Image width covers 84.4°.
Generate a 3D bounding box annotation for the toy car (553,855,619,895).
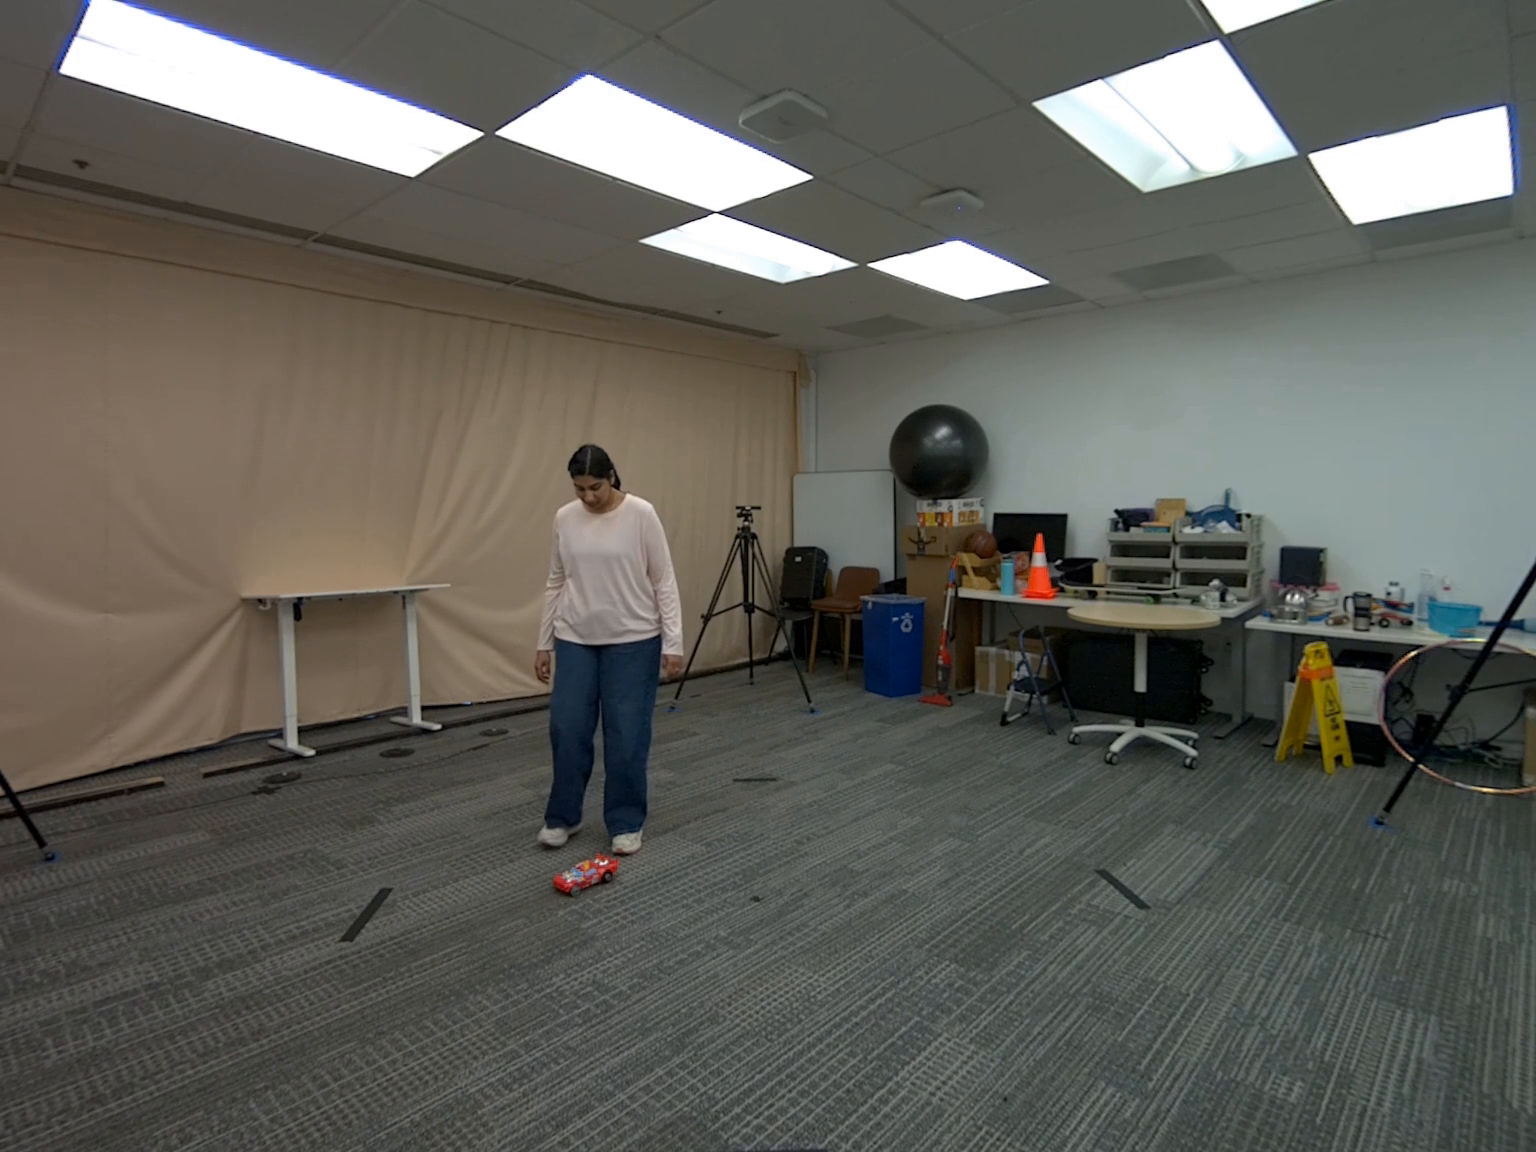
[{"bbox_3d":[-0.672,1.102,3.117,0.134,0.082,0.248,3,17,43],"label":"toy car"}]
